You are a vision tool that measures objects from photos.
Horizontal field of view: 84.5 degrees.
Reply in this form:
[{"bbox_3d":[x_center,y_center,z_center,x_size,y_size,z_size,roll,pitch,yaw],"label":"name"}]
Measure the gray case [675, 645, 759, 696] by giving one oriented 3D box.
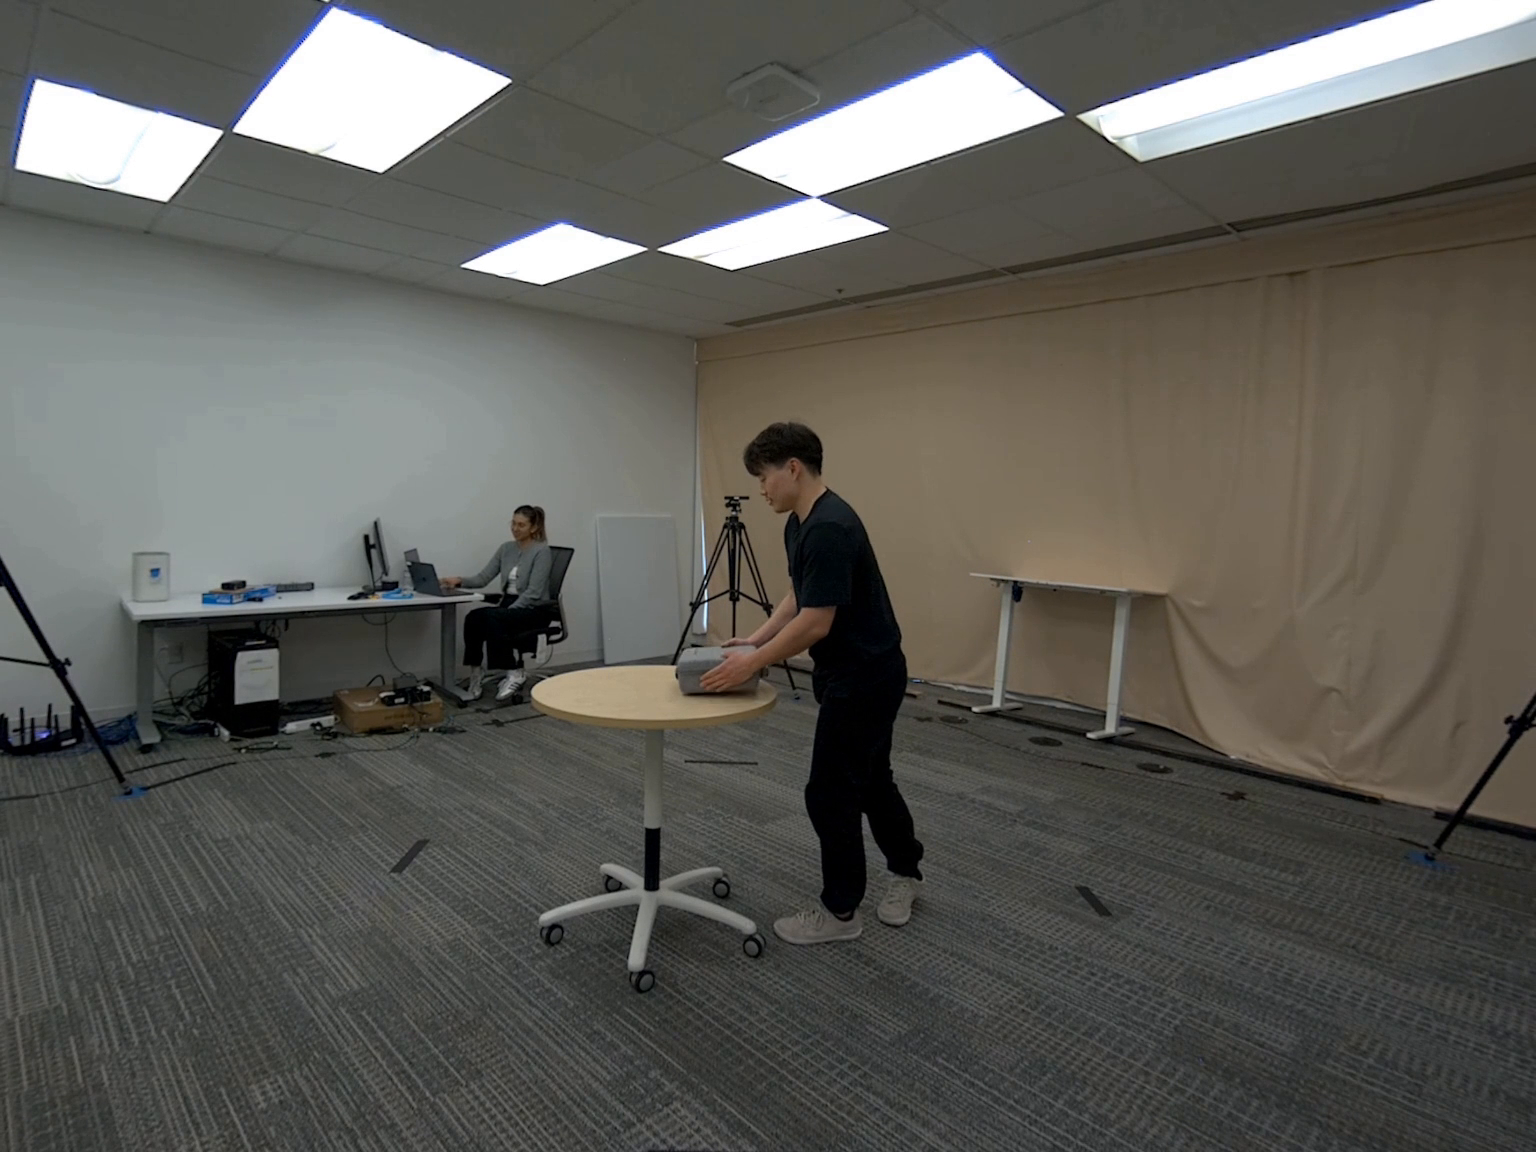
[{"bbox_3d":[-0.164,0.281,2.680,0.260,0.104,0.258,-2,6,-2],"label":"gray case"}]
